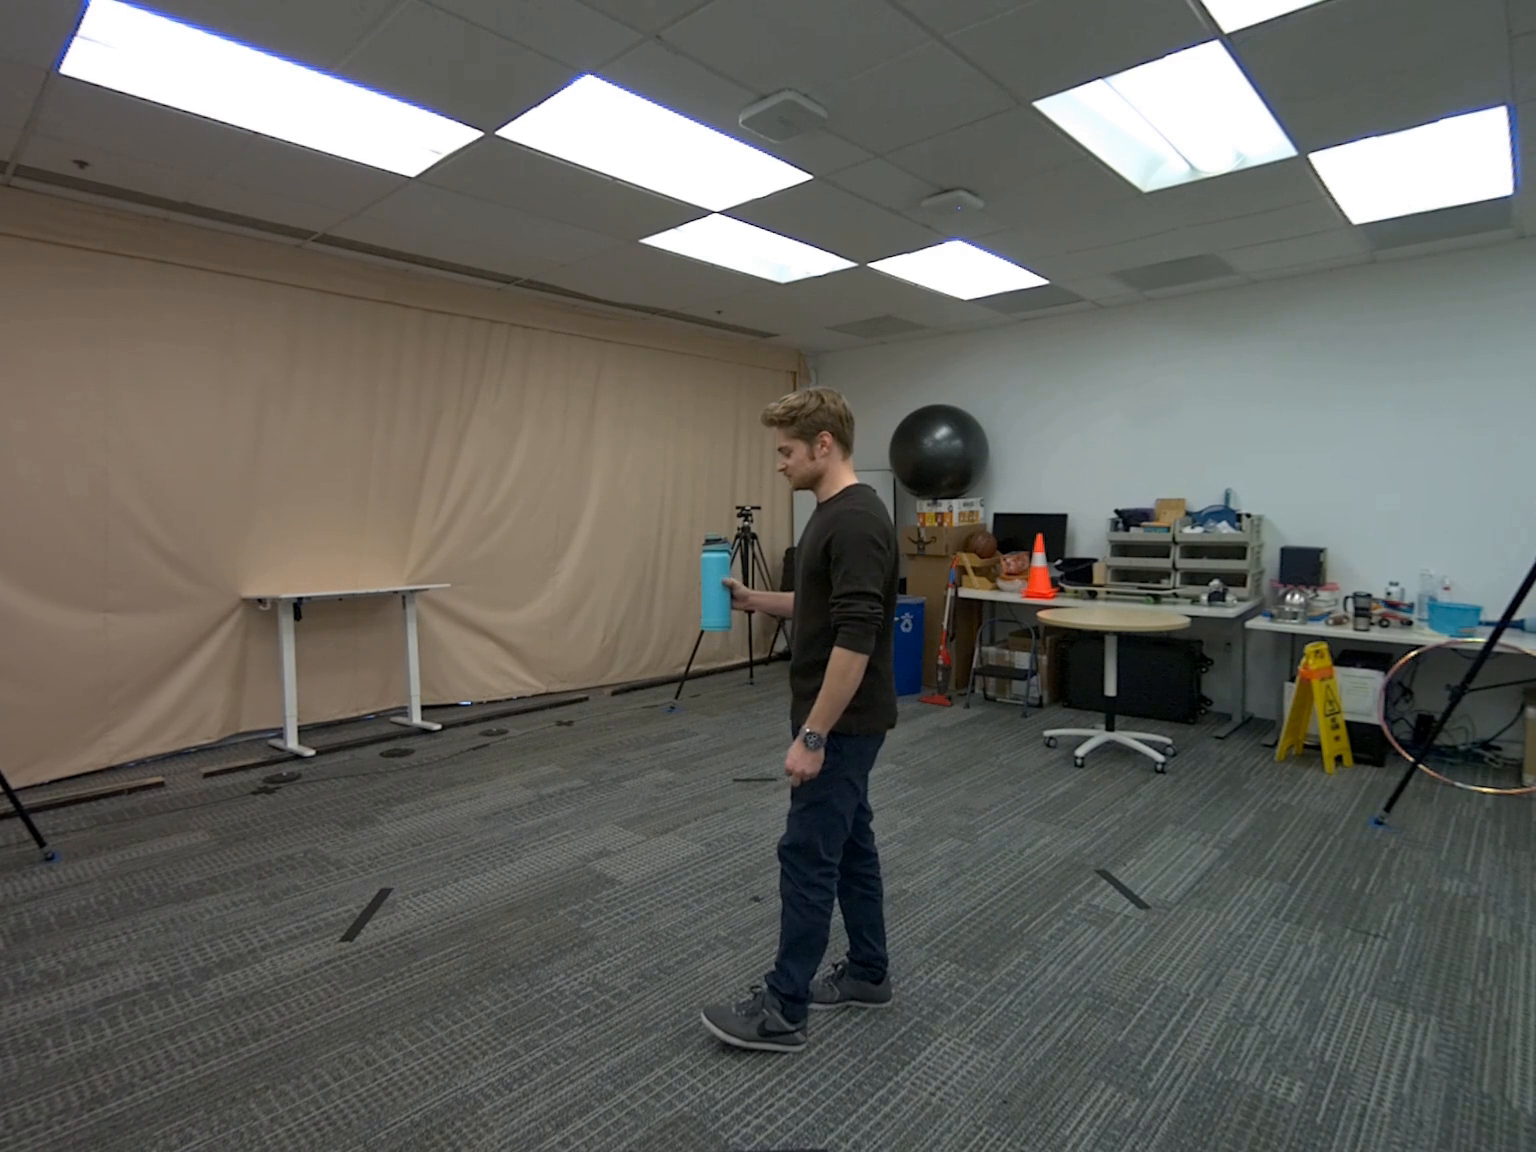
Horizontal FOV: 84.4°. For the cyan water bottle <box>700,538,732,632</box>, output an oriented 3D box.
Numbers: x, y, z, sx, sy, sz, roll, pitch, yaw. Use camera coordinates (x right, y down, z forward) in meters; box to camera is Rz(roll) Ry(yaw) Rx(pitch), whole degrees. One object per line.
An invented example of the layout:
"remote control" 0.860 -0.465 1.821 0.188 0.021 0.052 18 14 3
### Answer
"cyan water bottle" -0.148 0.015 2.482 0.092 0.284 0.092 0 -3 -2
